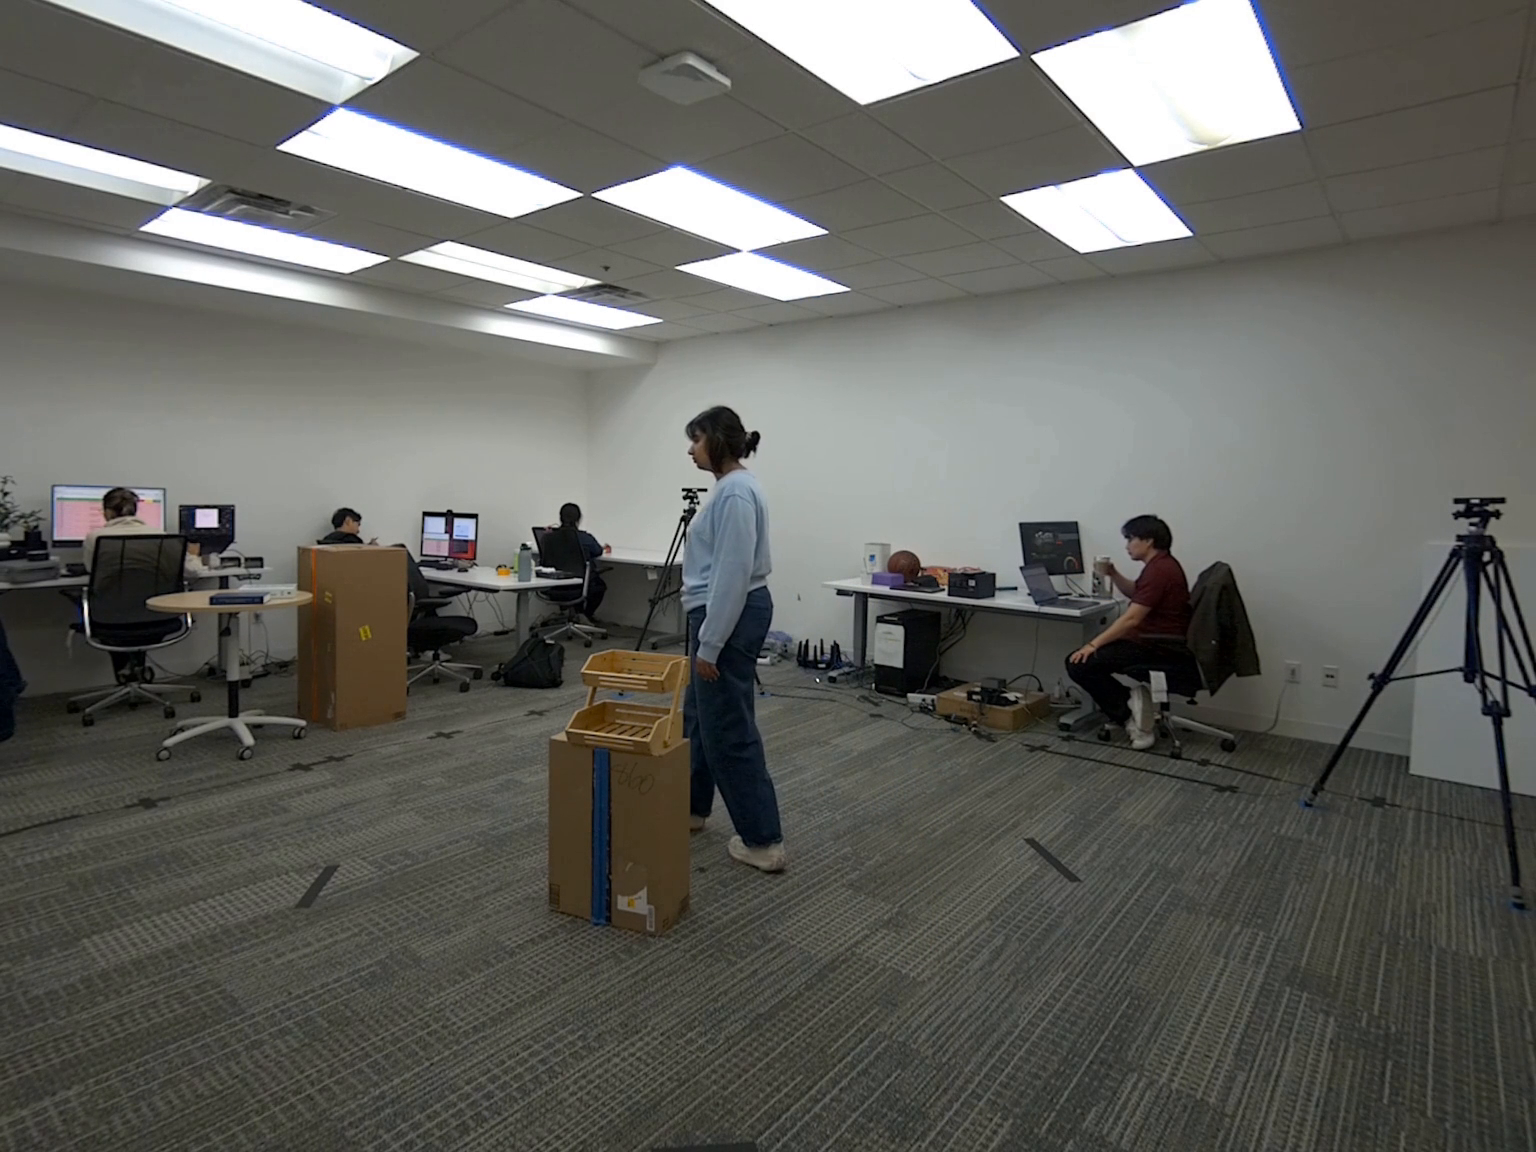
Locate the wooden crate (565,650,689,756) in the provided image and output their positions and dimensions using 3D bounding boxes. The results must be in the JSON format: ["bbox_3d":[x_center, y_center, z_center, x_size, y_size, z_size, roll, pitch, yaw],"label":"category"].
[{"bbox_3d":[-0.471,0.404,2.777,0.332,0.273,0.296,3,3,20],"label":"wooden crate"}]
